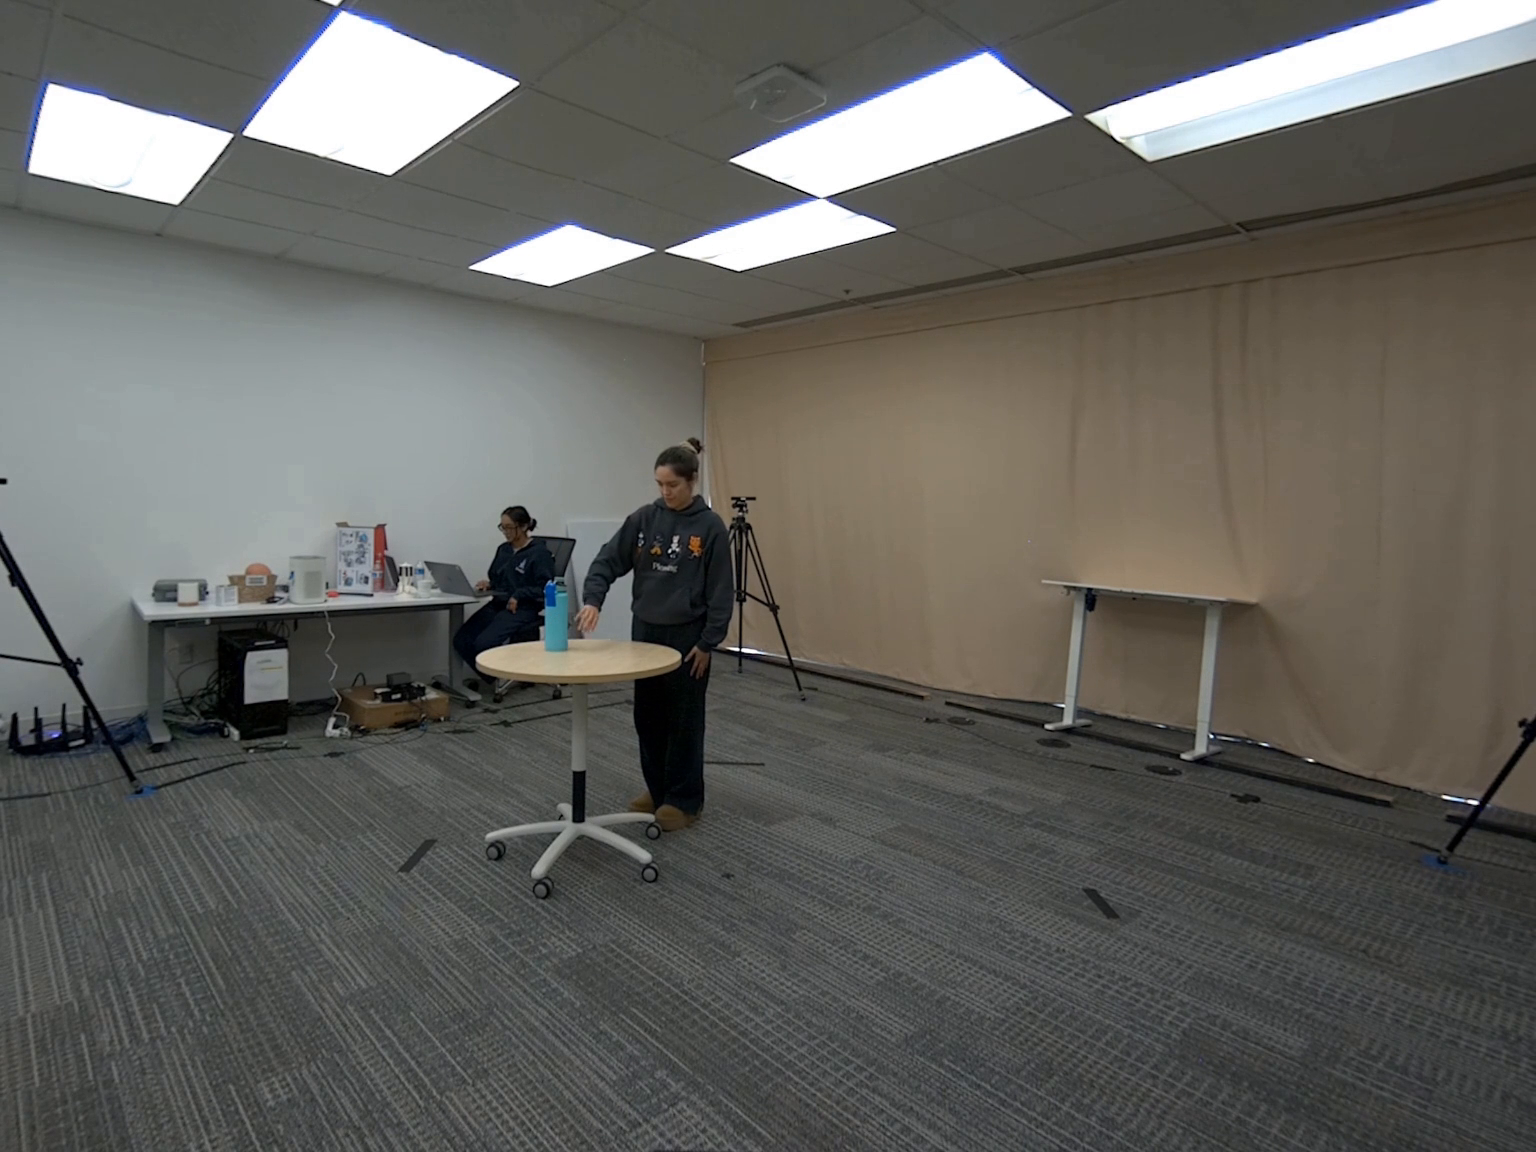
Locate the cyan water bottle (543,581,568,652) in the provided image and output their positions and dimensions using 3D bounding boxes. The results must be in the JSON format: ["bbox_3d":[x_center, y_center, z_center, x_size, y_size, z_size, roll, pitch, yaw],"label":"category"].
[{"bbox_3d":[-0.843,0.150,3.306,0.092,0.282,0.092,2,4,-2],"label":"cyan water bottle"}]
